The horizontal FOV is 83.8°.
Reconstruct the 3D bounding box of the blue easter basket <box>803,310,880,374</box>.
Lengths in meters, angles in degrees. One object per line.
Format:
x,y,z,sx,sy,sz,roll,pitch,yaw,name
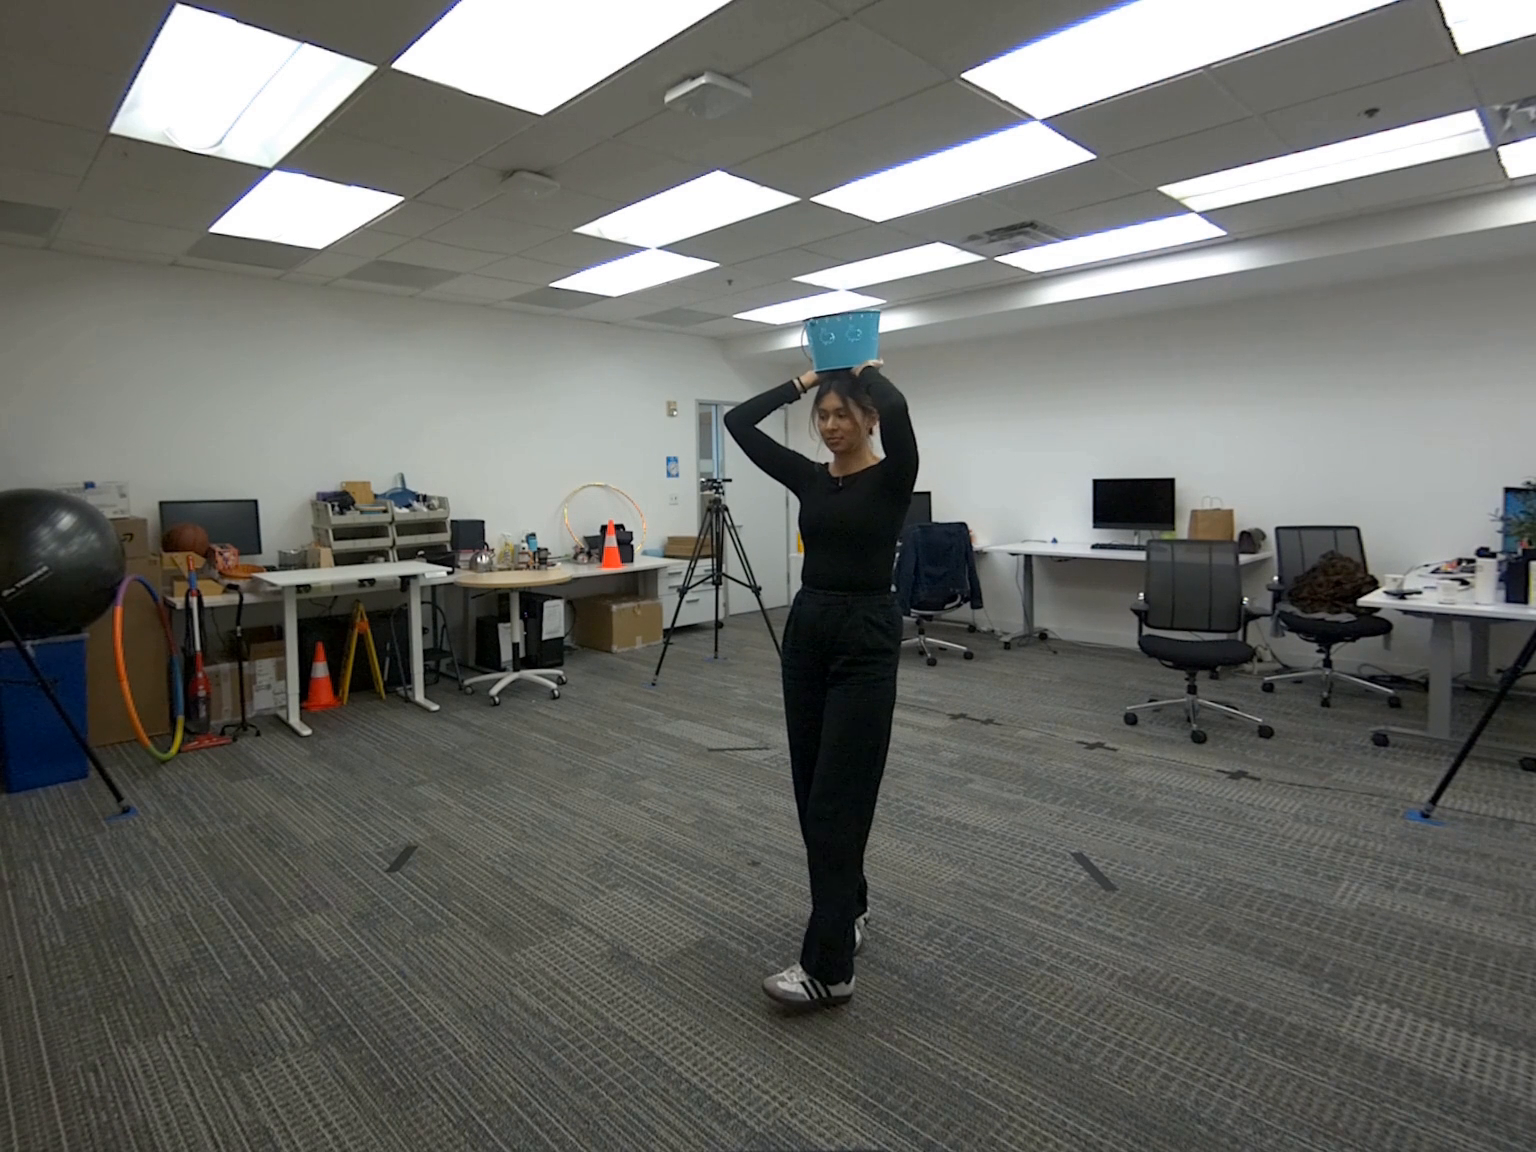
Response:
0.229,-0.681,2.490,0.243,0.154,0.246,-5,11,-1,blue easter basket
